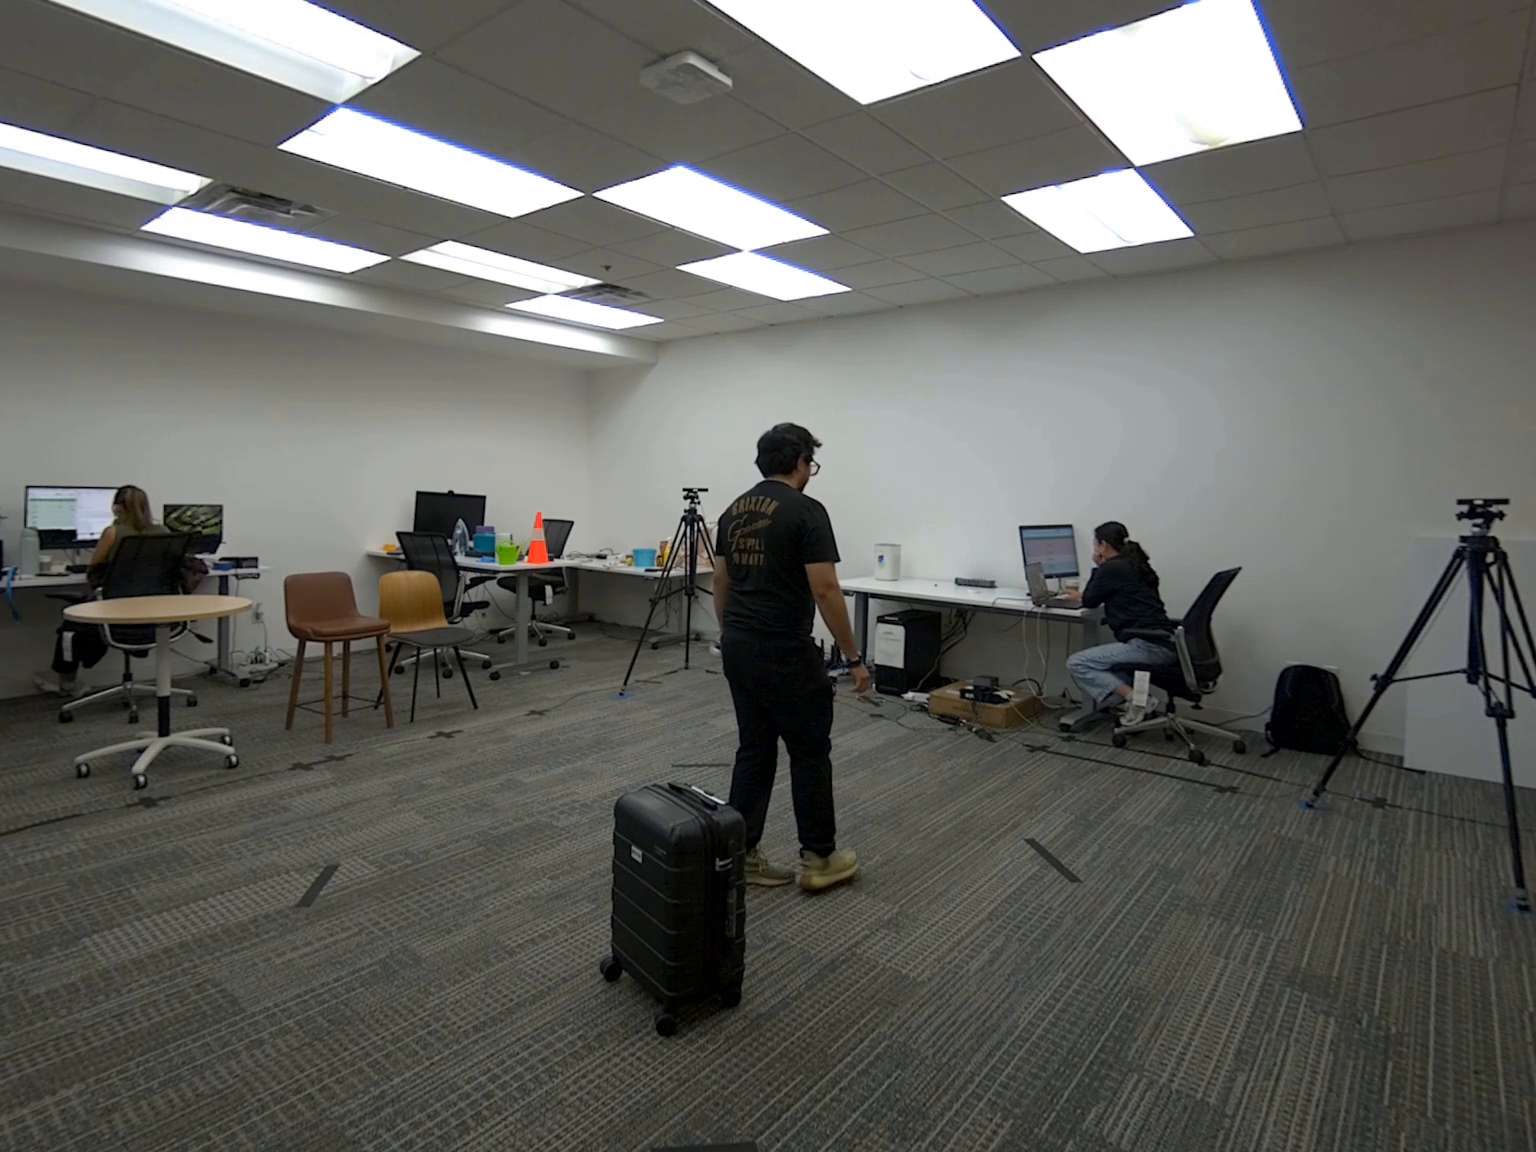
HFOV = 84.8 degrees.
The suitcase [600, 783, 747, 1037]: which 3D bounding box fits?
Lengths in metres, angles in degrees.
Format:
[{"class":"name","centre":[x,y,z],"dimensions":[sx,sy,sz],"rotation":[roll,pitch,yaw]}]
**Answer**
[{"class":"suitcase","centre":[-0.263,0.873,2.340],"dimensions":[0.241,0.548,0.388],"rotation":[0,4,-39]}]
